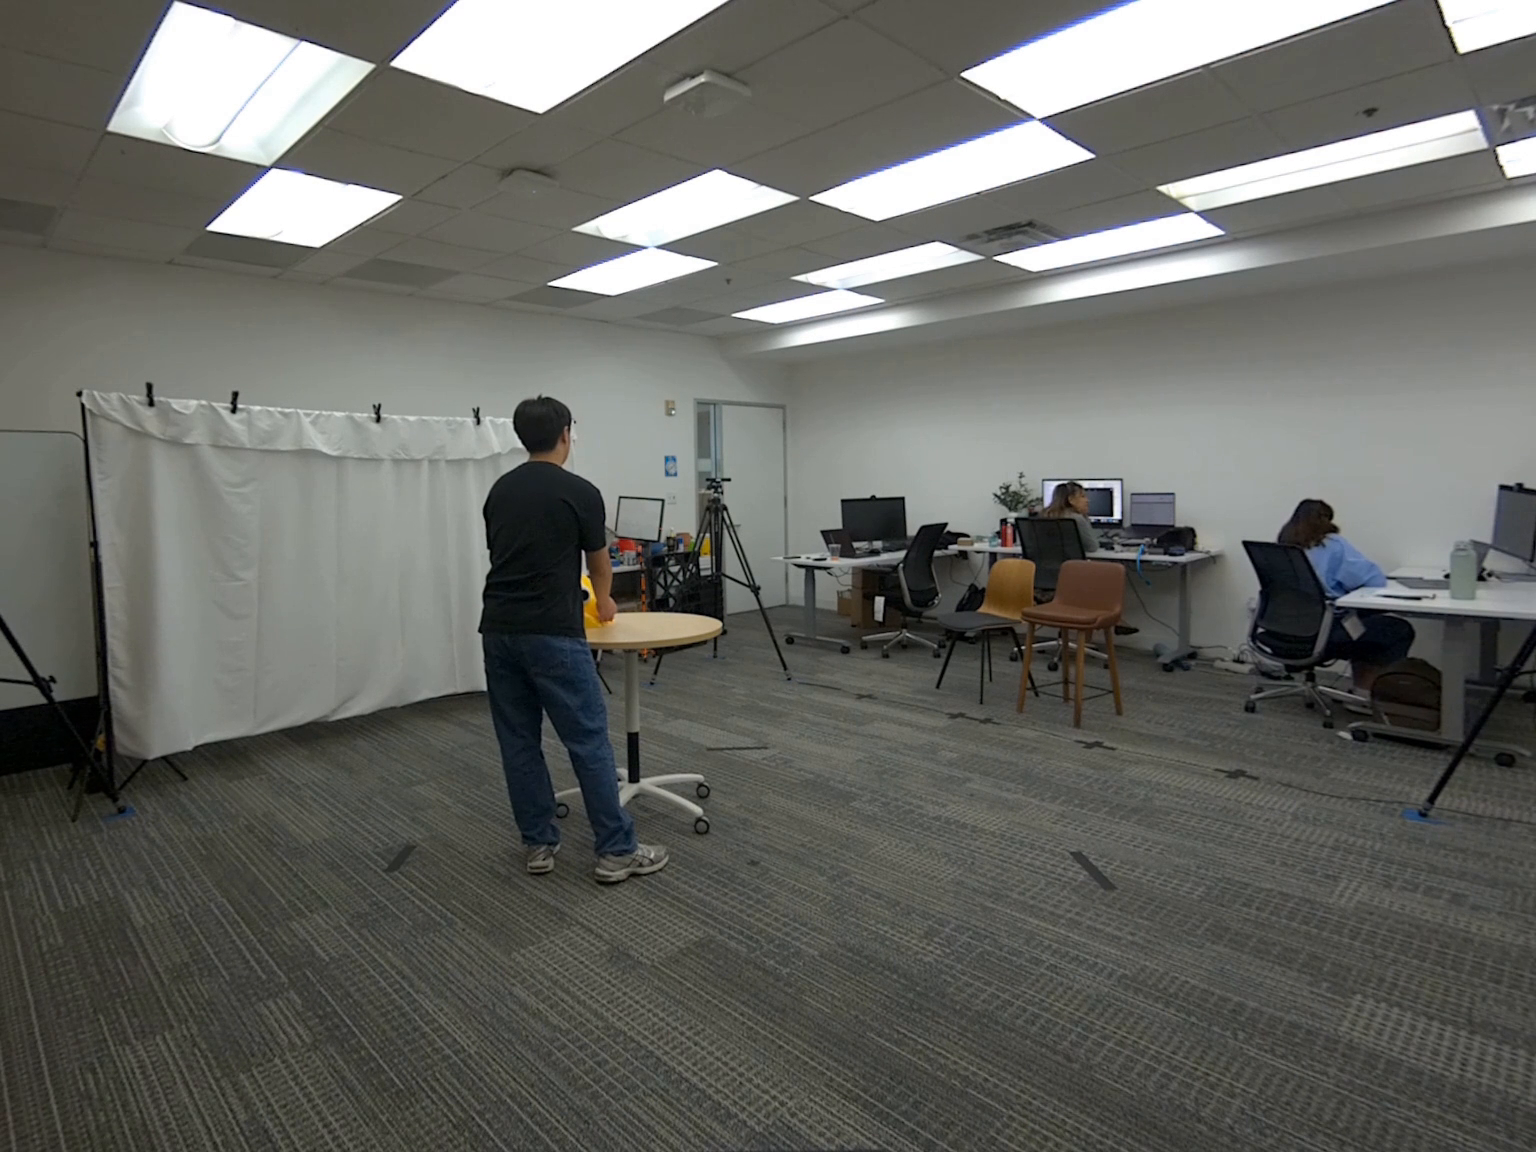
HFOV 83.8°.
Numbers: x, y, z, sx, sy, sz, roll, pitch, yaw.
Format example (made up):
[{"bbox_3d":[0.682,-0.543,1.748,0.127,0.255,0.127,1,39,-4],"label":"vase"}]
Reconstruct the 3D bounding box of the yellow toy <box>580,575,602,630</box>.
[{"bbox_3d":[-0.761,0.088,3.612,0.196,0.230,0.202,1,5,17],"label":"yellow toy"}]
